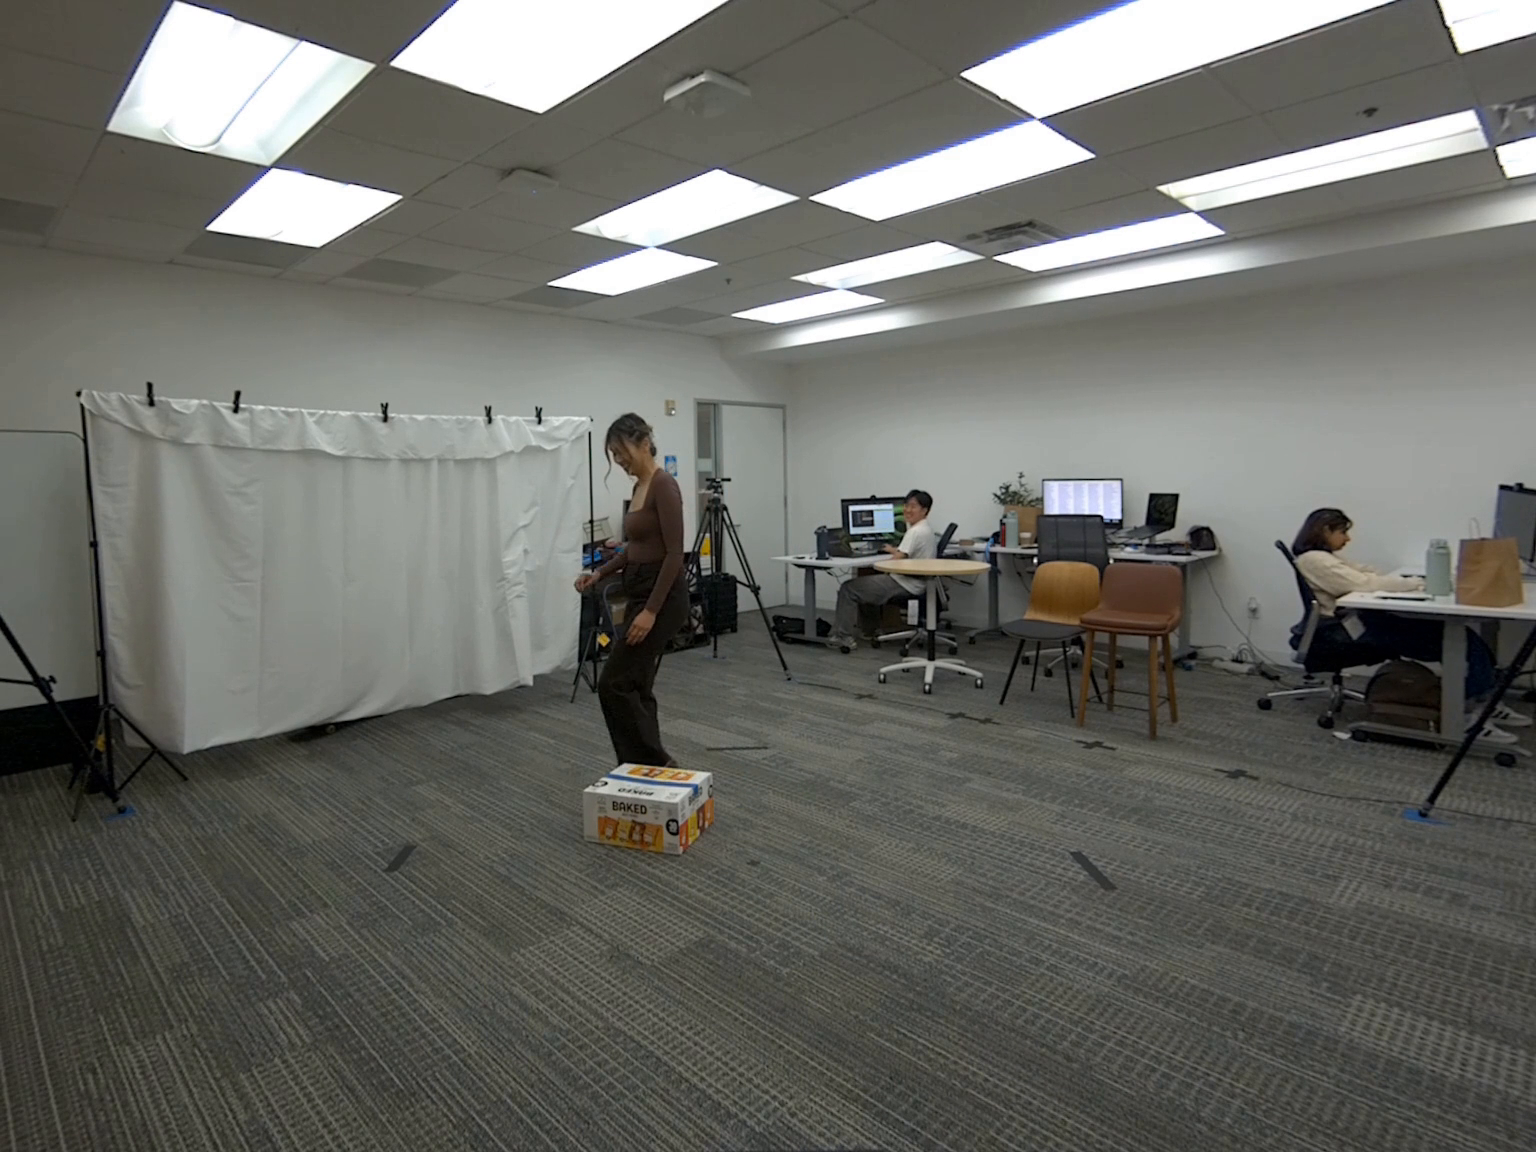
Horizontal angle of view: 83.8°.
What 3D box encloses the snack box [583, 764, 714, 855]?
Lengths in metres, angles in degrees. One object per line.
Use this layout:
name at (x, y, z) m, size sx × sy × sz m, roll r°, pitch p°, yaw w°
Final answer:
snack box at (-0.470, 0.915, 3.391) m, size 0.413 × 0.205 × 0.335 m, roll 1°, pitch 6°, yaw 20°
